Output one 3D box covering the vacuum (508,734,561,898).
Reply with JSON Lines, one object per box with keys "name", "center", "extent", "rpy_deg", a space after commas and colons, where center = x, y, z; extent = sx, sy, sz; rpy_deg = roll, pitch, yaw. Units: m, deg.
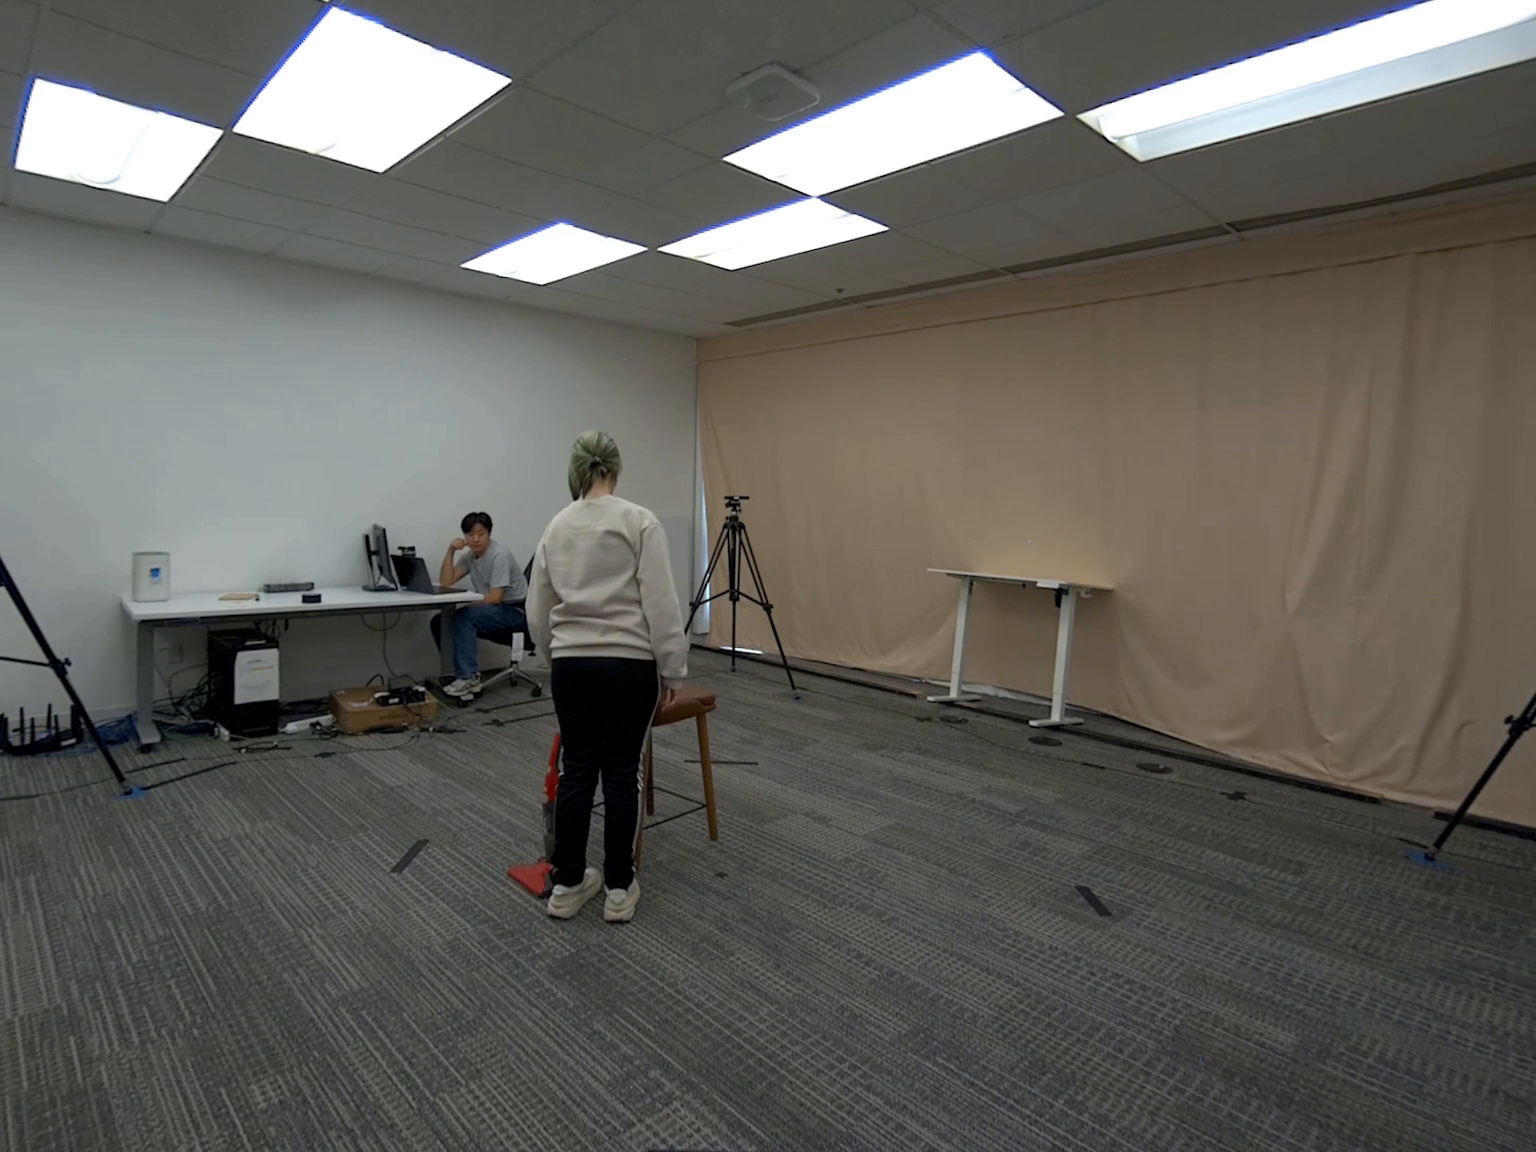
{"name": "vacuum", "center": [-0.745, 0.589, 3.085], "extent": [0.259, 1.055, 0.140], "rpy_deg": [1, -11, 42]}
